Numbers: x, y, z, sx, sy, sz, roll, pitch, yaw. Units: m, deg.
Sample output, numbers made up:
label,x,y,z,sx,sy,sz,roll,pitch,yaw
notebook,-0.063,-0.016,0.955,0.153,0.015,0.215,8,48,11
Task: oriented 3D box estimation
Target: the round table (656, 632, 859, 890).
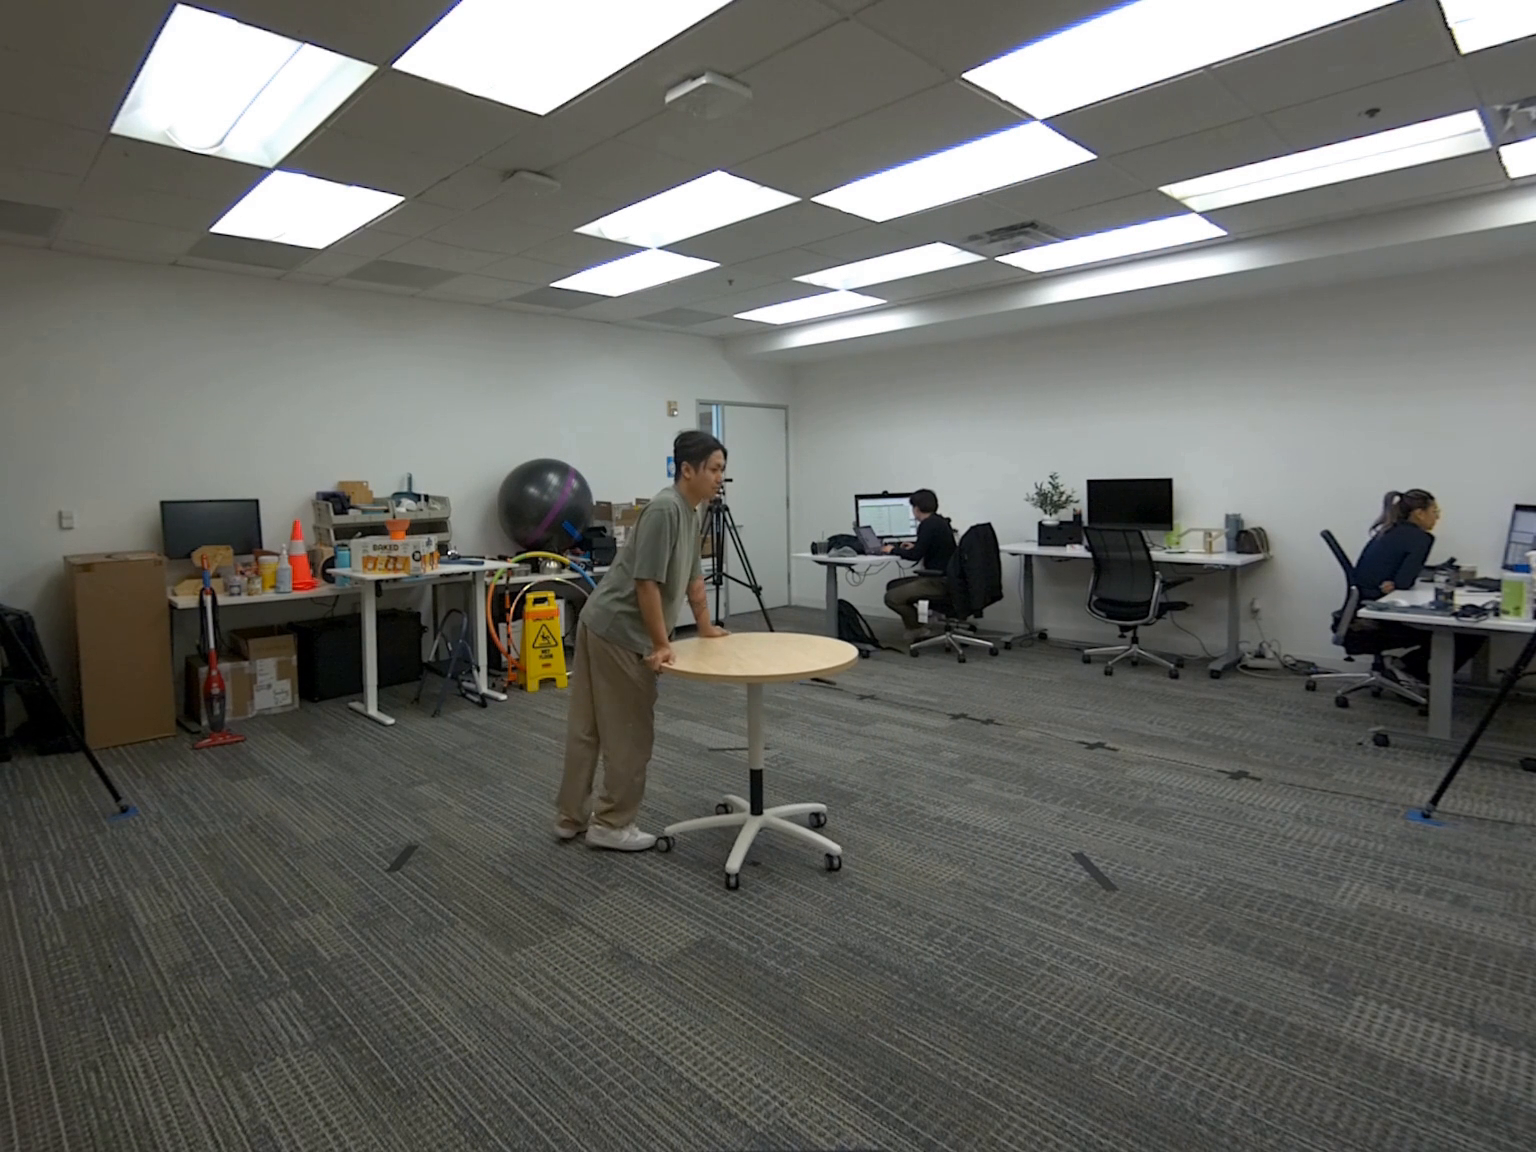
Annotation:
label,x,y,z,sx,sy,sz,roll,pitch,yaw
round table,-0.051,0.653,3.184,0.784,0.783,0.789,-1,5,-2
